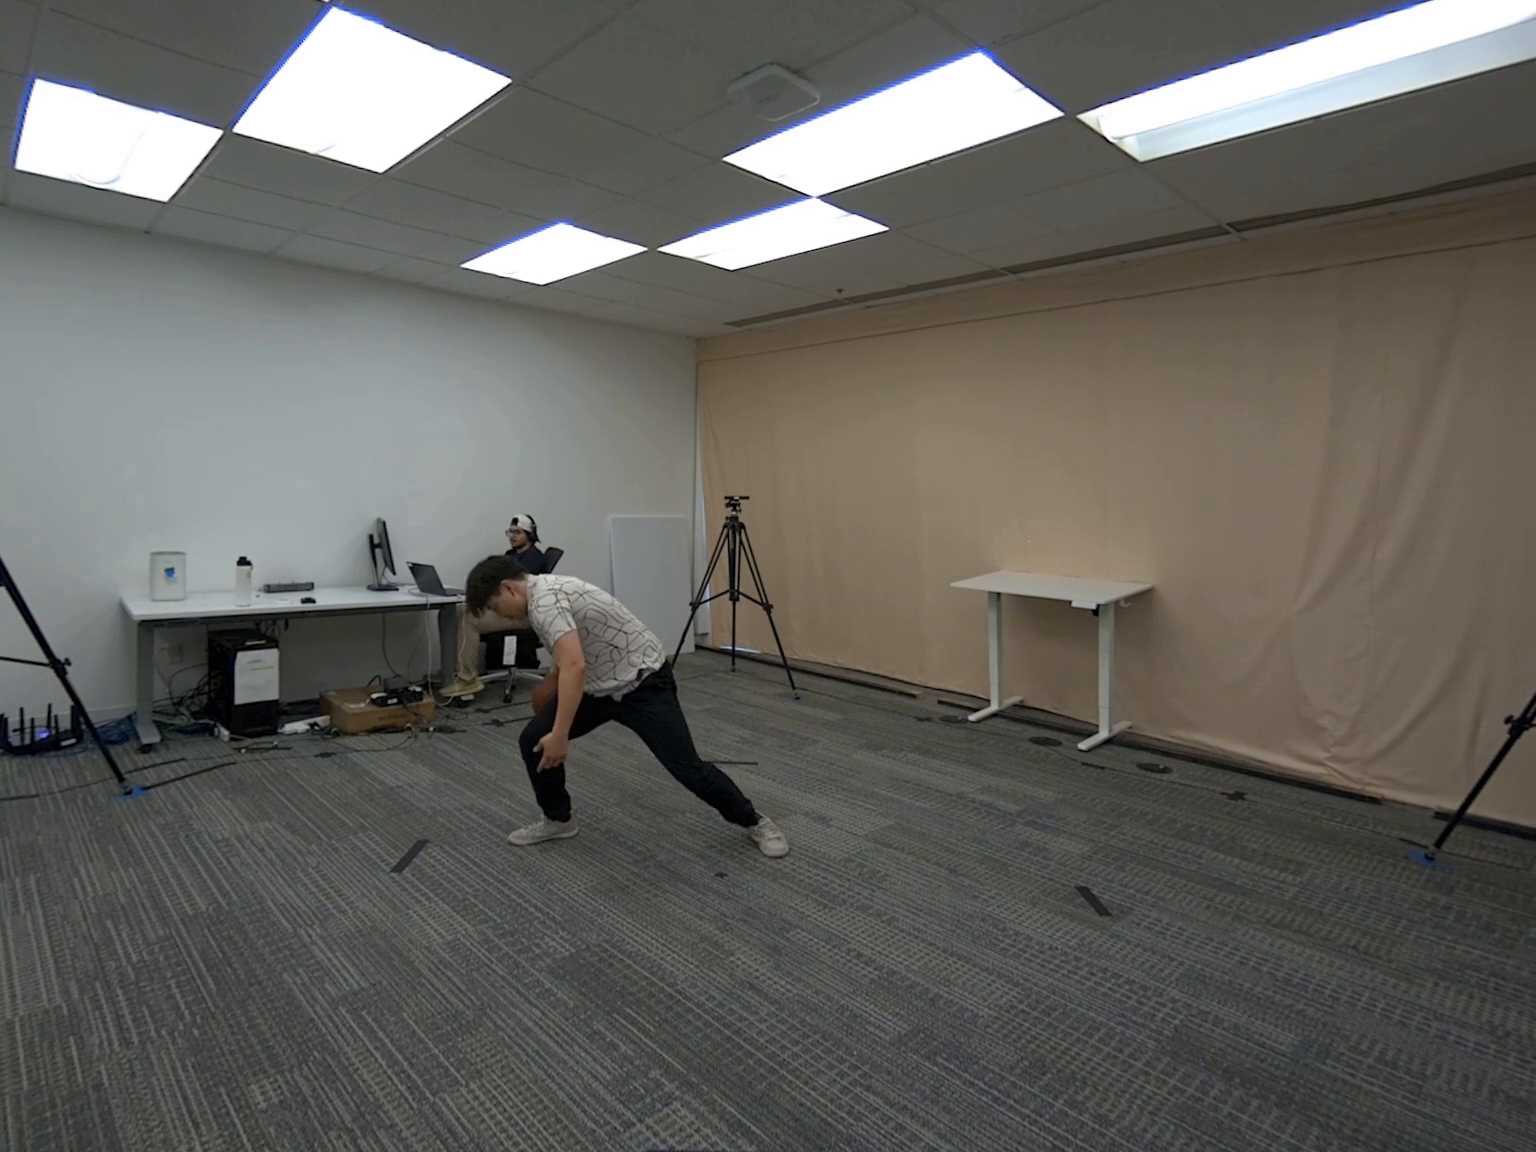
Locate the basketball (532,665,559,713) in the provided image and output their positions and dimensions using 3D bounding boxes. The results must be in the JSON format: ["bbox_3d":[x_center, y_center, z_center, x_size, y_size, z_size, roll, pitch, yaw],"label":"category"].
[{"bbox_3d":[-0.878,0.523,3.549,0.236,0.235,0.237,1,4,-1],"label":"basketball"}]
